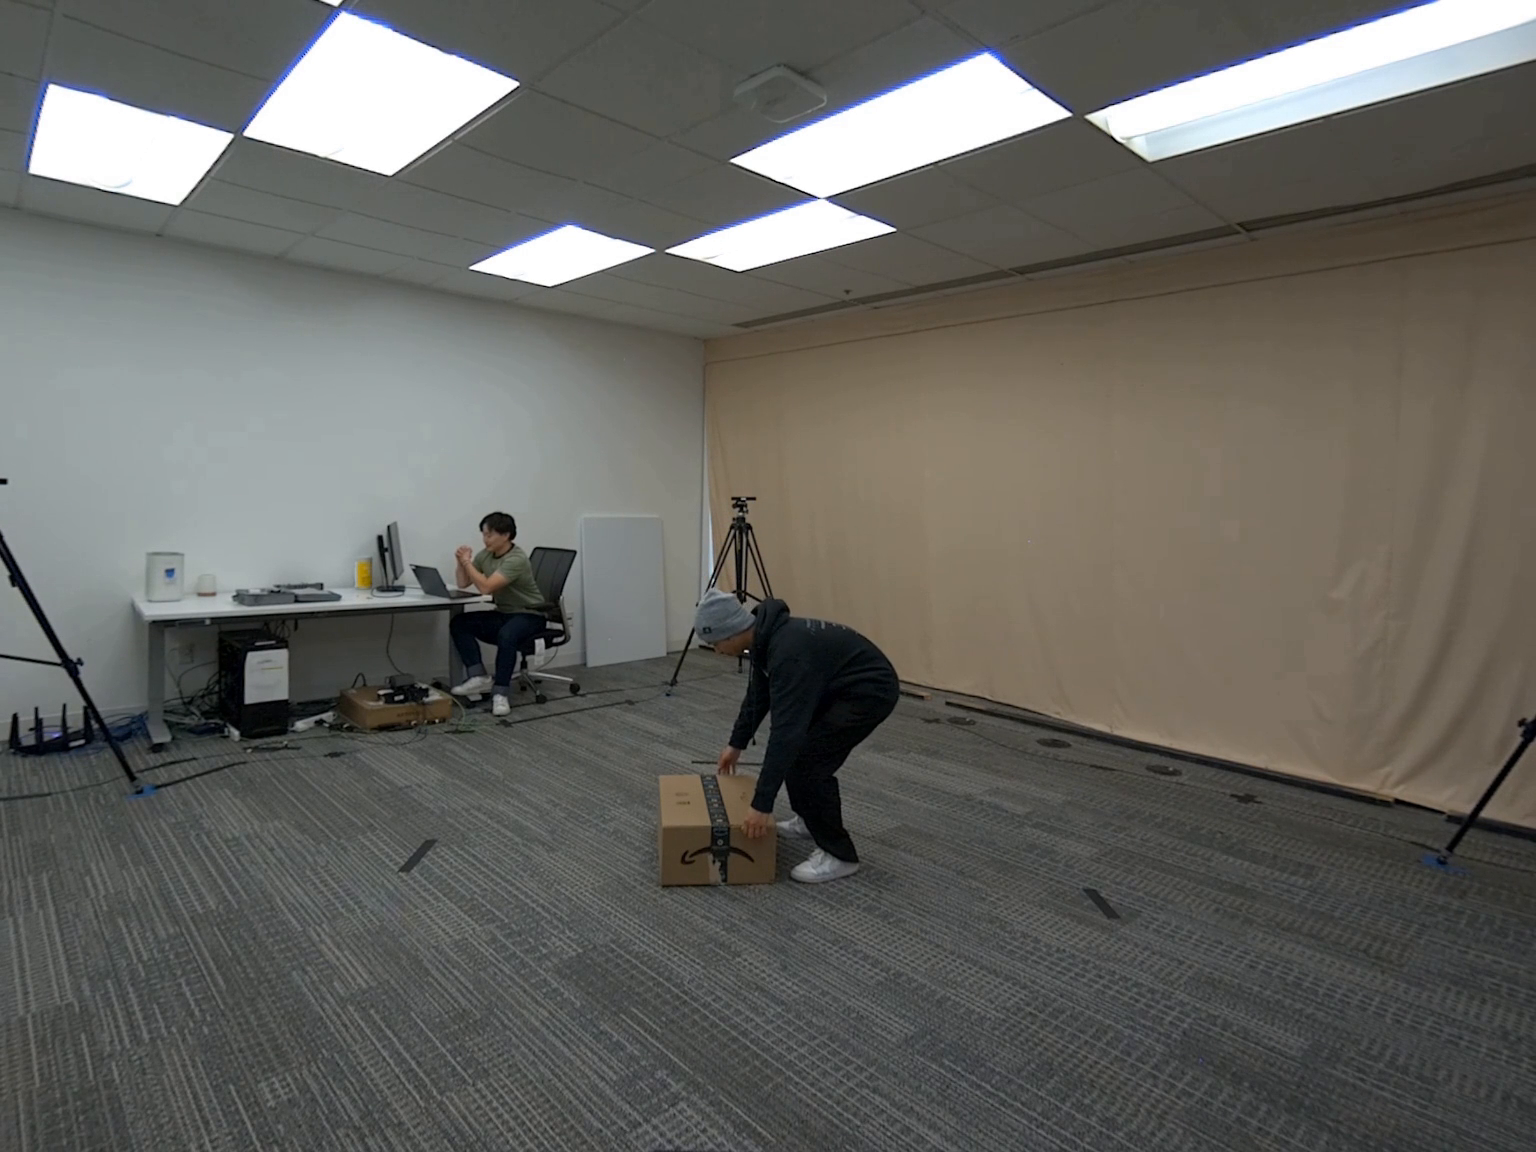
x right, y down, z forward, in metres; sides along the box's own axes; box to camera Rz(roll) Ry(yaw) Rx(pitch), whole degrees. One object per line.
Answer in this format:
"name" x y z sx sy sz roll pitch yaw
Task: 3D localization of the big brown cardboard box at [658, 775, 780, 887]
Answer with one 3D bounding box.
"big brown cardboard box" -0.228 0.979 3.294 0.415 0.232 0.594 1 4 -8
